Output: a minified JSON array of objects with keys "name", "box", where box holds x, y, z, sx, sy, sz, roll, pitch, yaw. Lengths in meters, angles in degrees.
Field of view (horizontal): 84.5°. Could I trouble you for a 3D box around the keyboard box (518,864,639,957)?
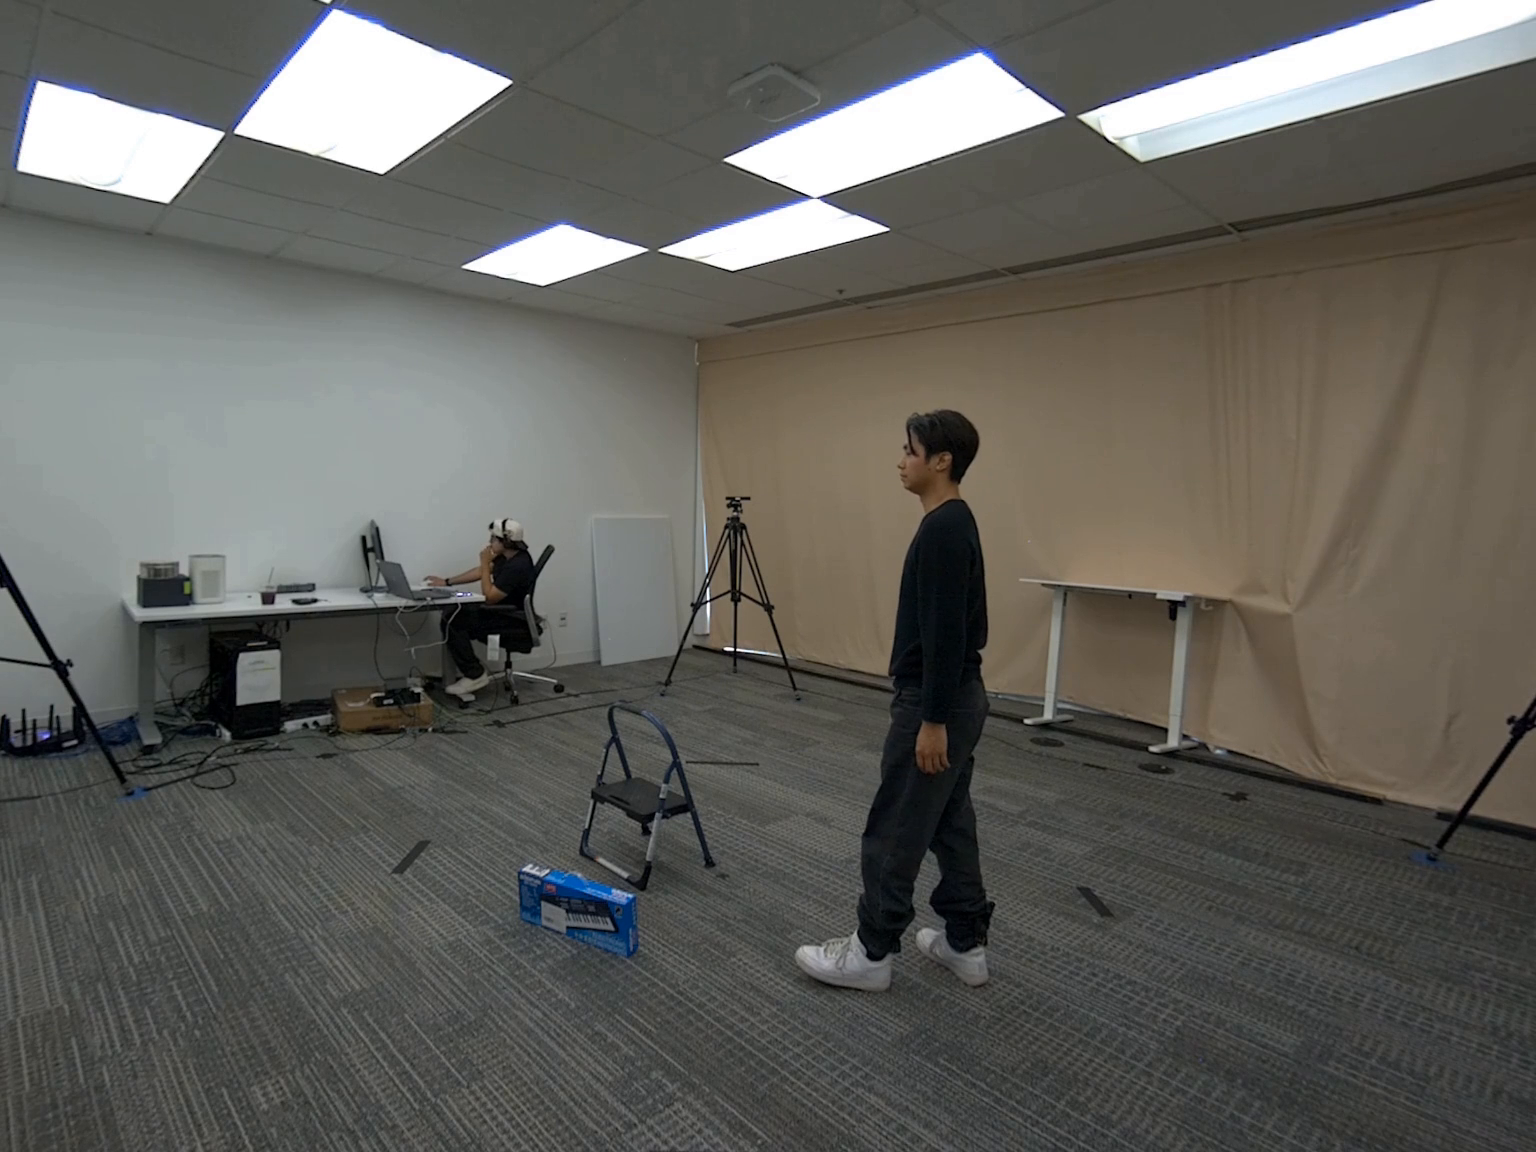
[{"name":"keyboard box","box":[-0.623,1.058,2.650,0.446,0.175,0.058,4,10,30]}]
